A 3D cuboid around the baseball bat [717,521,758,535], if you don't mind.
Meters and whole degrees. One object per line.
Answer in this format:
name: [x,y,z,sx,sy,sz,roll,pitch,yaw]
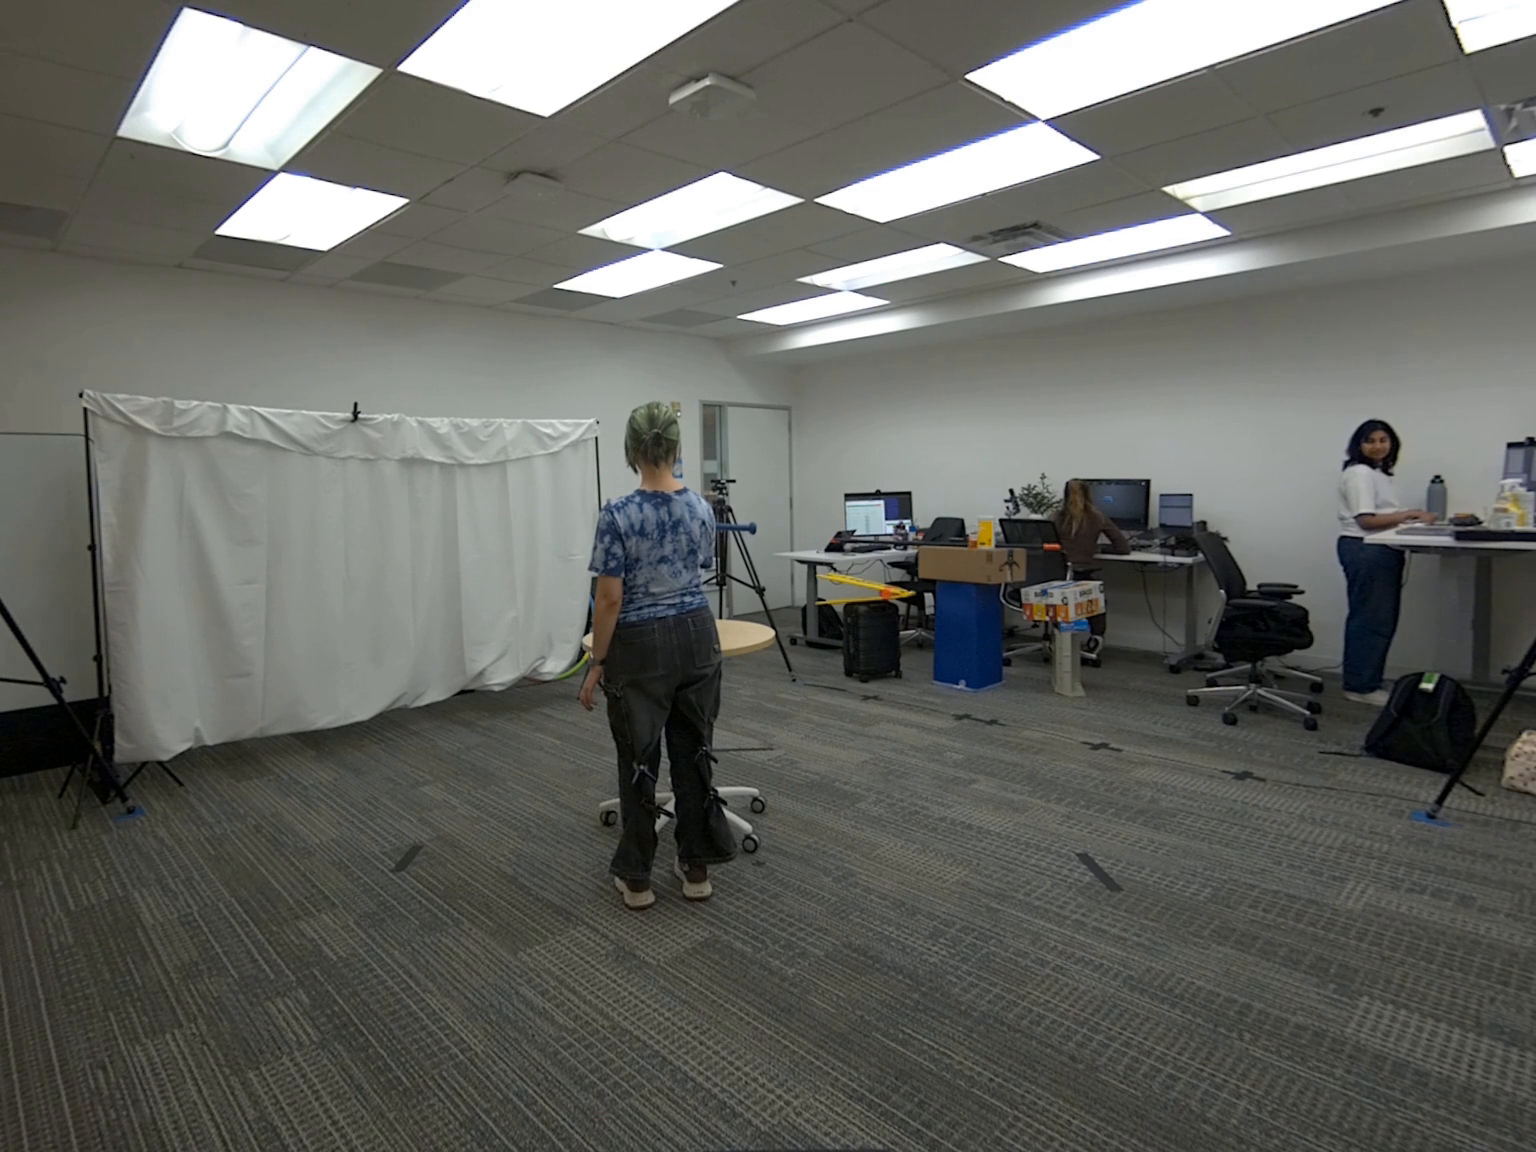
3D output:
baseball bat: [-0.317,-0.198,3.307,0.538,0.089,0.090,5,4,-8]
